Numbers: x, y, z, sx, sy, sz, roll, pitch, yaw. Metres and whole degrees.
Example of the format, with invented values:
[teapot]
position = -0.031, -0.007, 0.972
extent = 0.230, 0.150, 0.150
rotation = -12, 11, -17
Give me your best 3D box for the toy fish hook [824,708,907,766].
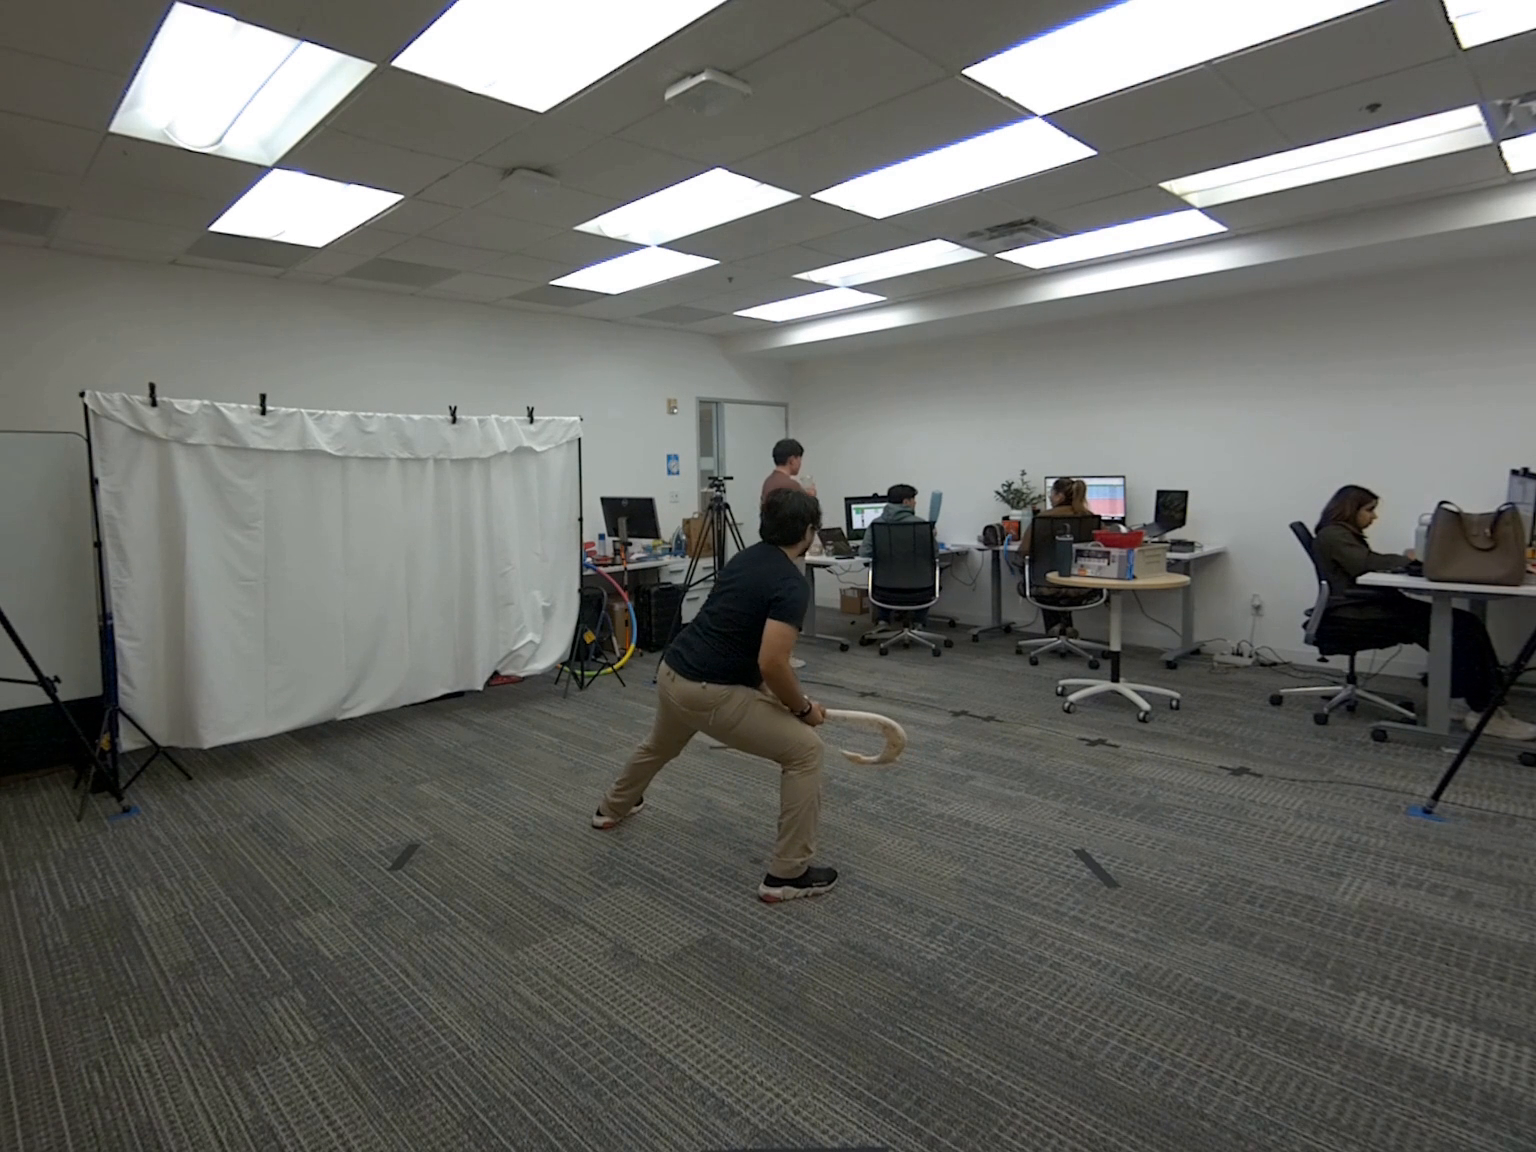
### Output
[toy fish hook]
position = 0.231, 0.534, 3.017
extent = 0.508, 0.222, 0.049
rotation = 19, 21, 2
